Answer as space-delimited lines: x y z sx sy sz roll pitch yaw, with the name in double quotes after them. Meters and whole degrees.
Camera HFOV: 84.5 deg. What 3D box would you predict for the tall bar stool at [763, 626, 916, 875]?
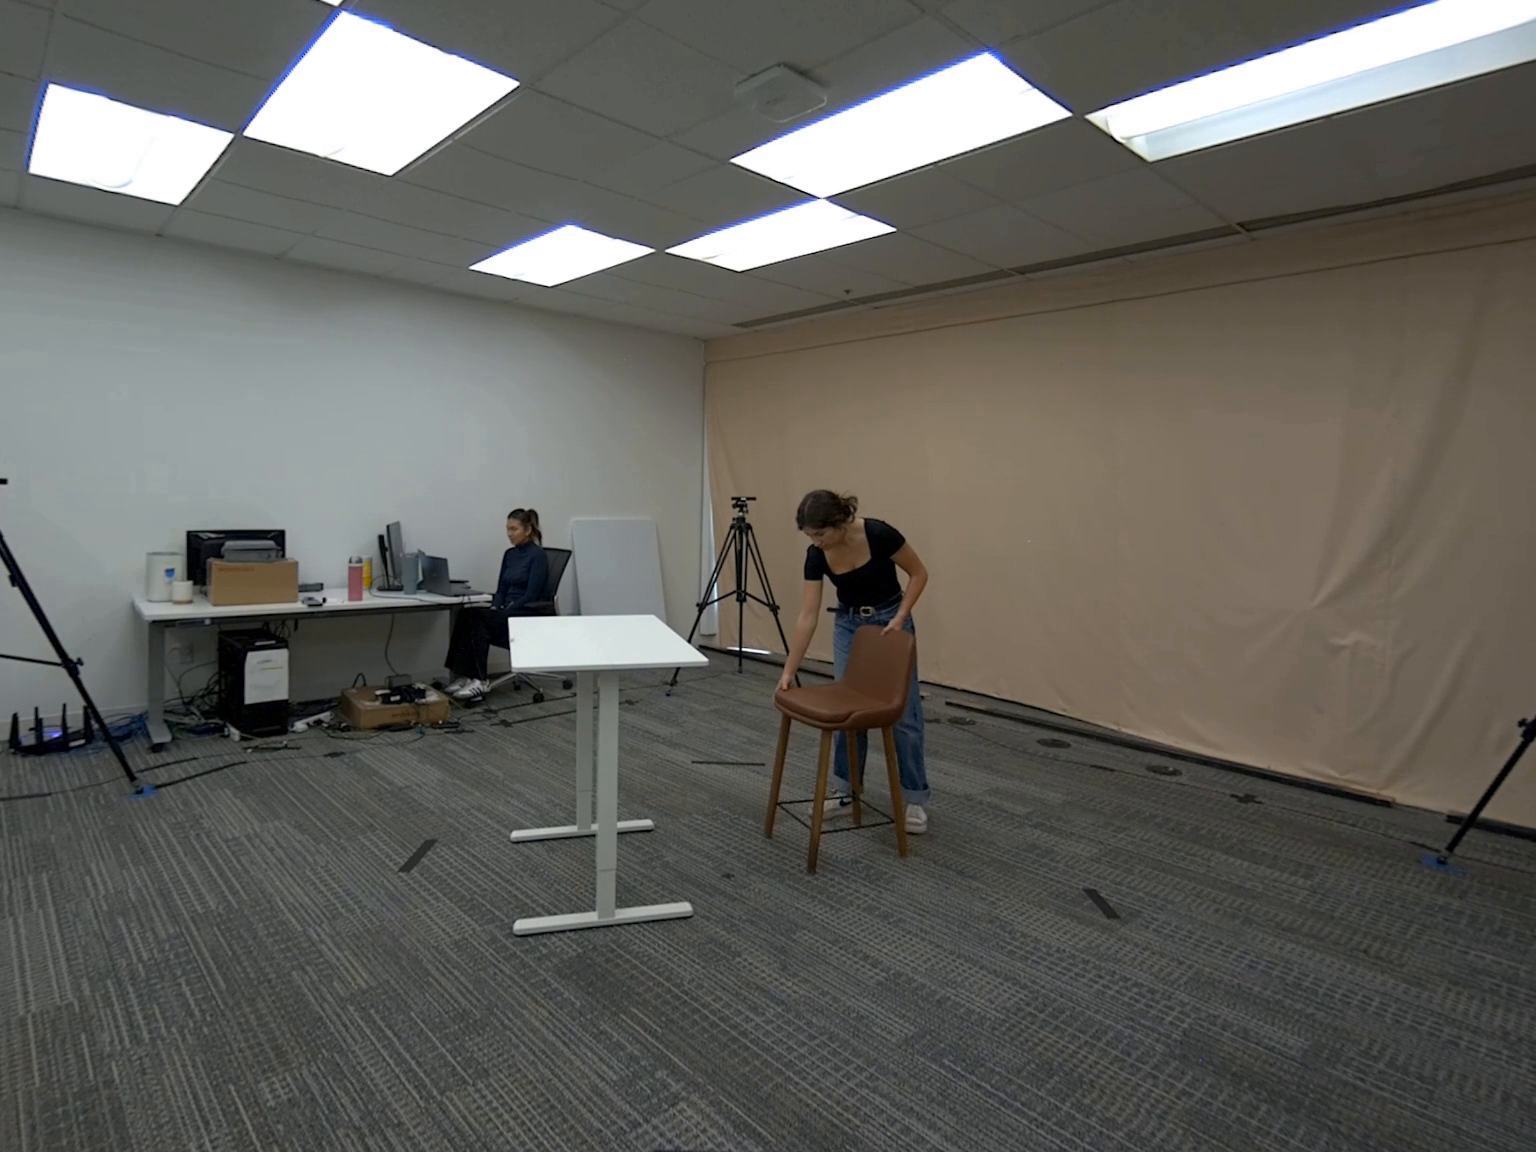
0.279 0.657 3.371 0.459 0.888 0.465 3 2 -24 "tall bar stool"
